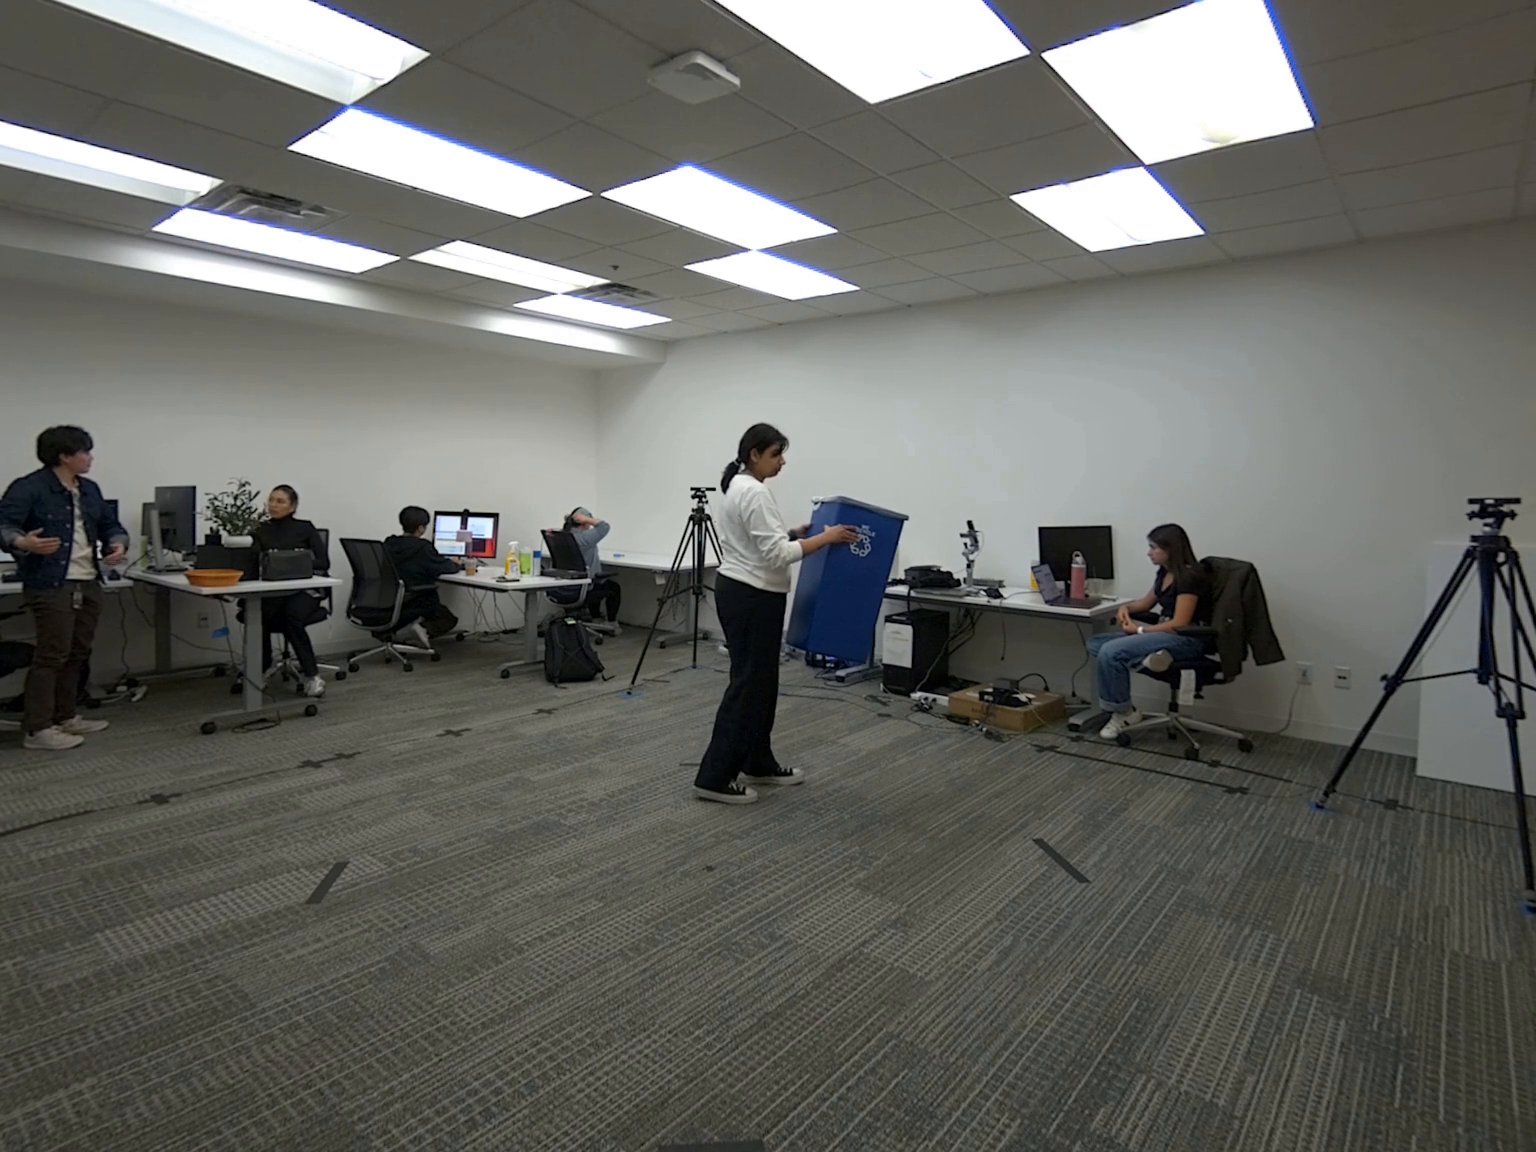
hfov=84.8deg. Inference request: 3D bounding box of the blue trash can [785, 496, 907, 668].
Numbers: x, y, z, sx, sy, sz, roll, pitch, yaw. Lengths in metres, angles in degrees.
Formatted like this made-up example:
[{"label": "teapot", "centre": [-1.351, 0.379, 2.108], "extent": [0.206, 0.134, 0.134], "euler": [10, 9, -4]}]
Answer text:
[{"label": "blue trash can", "centre": [0.340, 0.014, 3.991], "extent": [0.367, 0.715, 0.385], "euler": [14, -3, -17]}]
